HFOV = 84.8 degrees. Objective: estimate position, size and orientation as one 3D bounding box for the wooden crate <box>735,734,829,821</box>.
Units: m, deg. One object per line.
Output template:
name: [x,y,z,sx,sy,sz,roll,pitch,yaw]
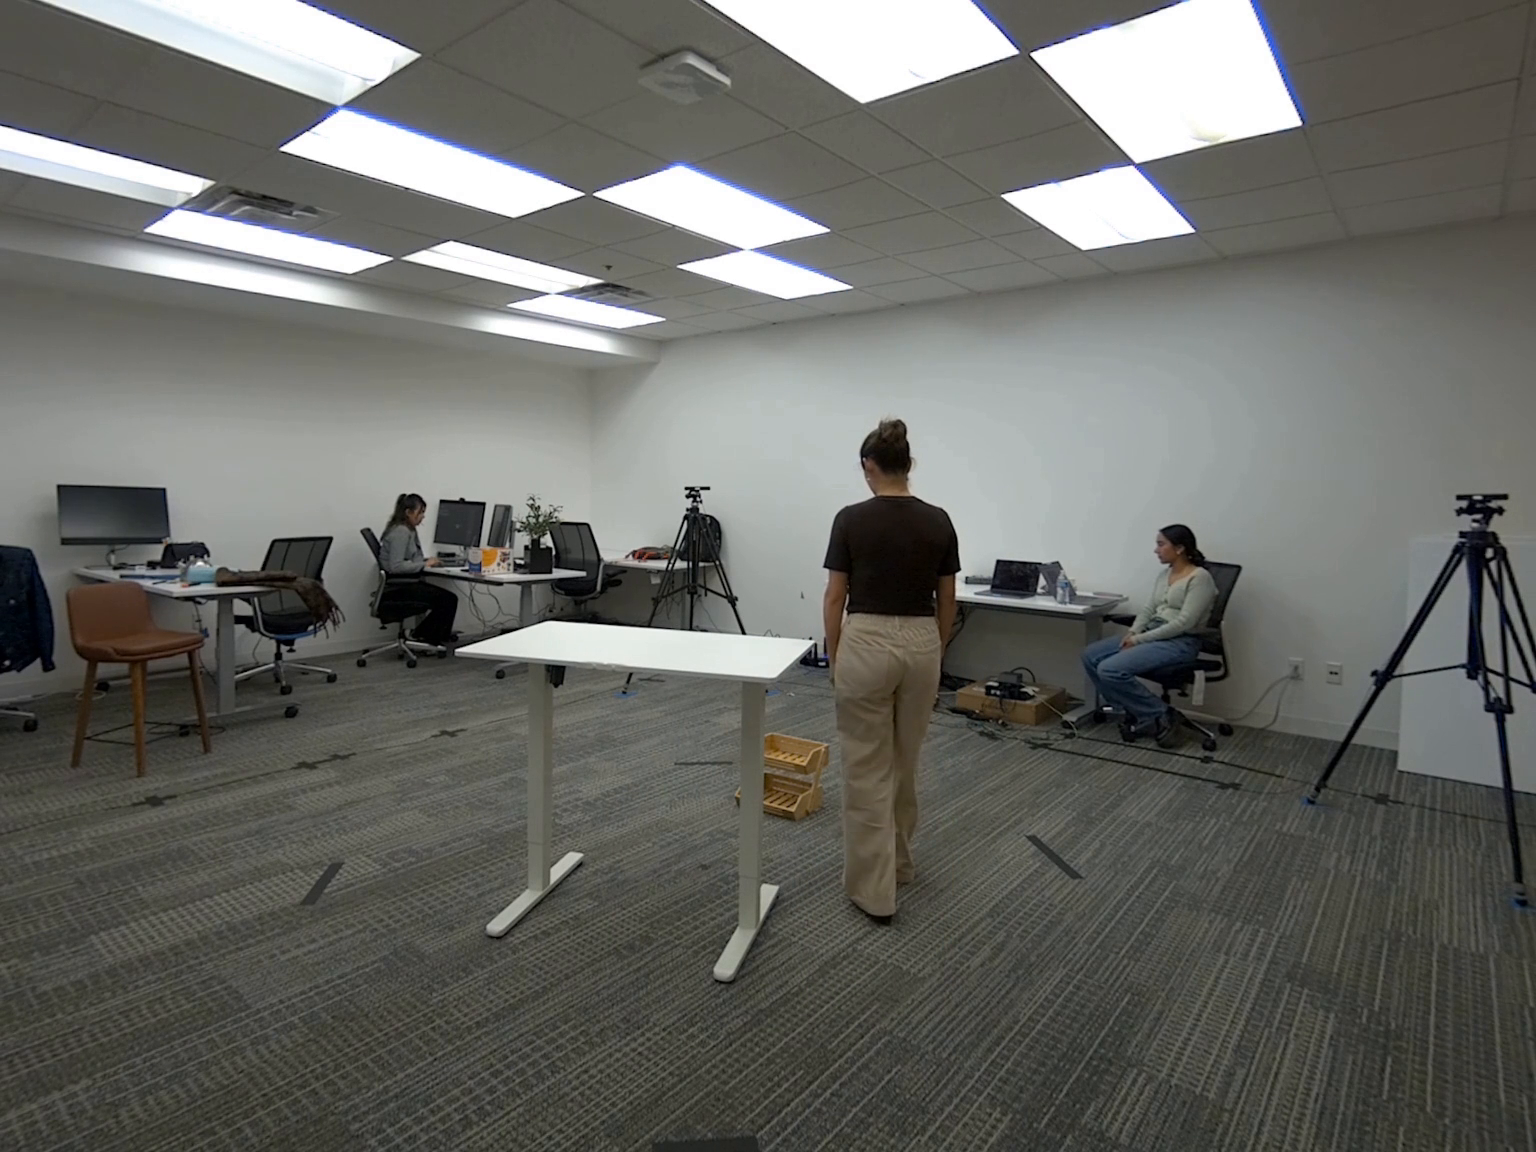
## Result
wooden crate: [0.058,0.872,3.756,0.335,0.272,0.293,4,5,33]
